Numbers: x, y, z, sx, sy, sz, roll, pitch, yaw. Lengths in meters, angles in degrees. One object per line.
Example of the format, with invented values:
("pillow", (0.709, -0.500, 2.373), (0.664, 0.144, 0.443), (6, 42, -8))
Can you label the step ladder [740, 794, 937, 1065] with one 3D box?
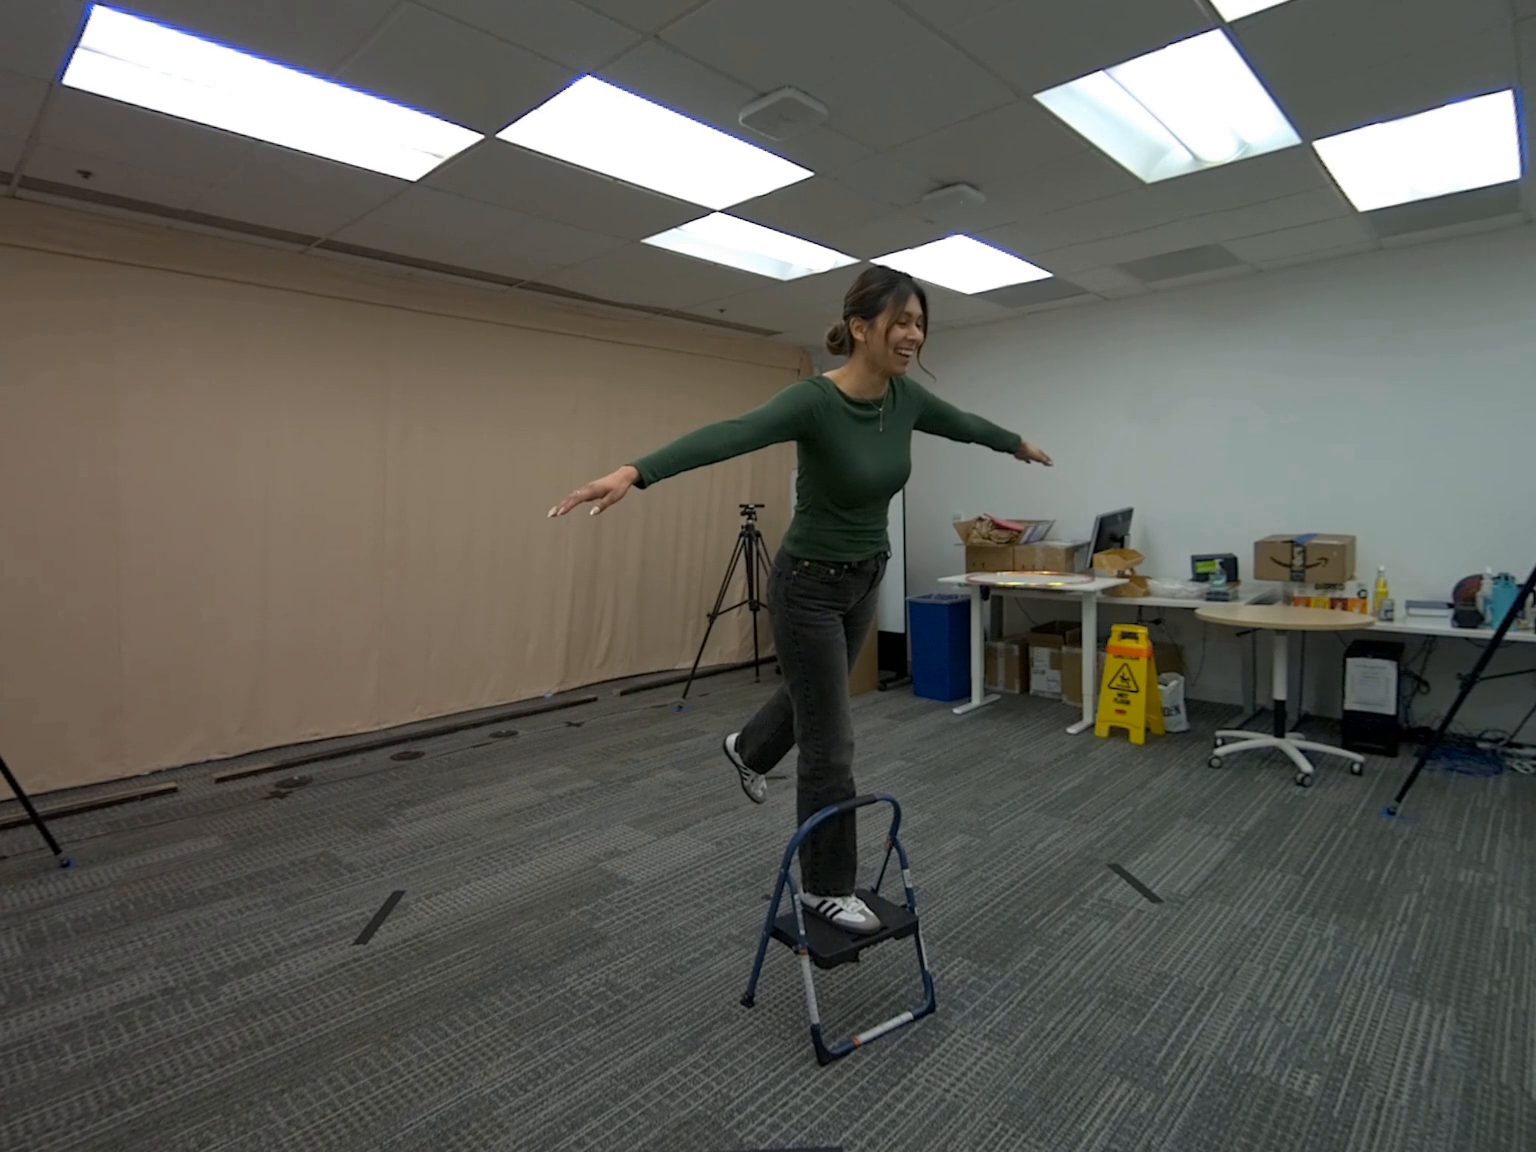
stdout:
("step ladder", (0.197, 0.893, 2.316), (0.418, 0.604, 0.360), (-4, 5, -36))
